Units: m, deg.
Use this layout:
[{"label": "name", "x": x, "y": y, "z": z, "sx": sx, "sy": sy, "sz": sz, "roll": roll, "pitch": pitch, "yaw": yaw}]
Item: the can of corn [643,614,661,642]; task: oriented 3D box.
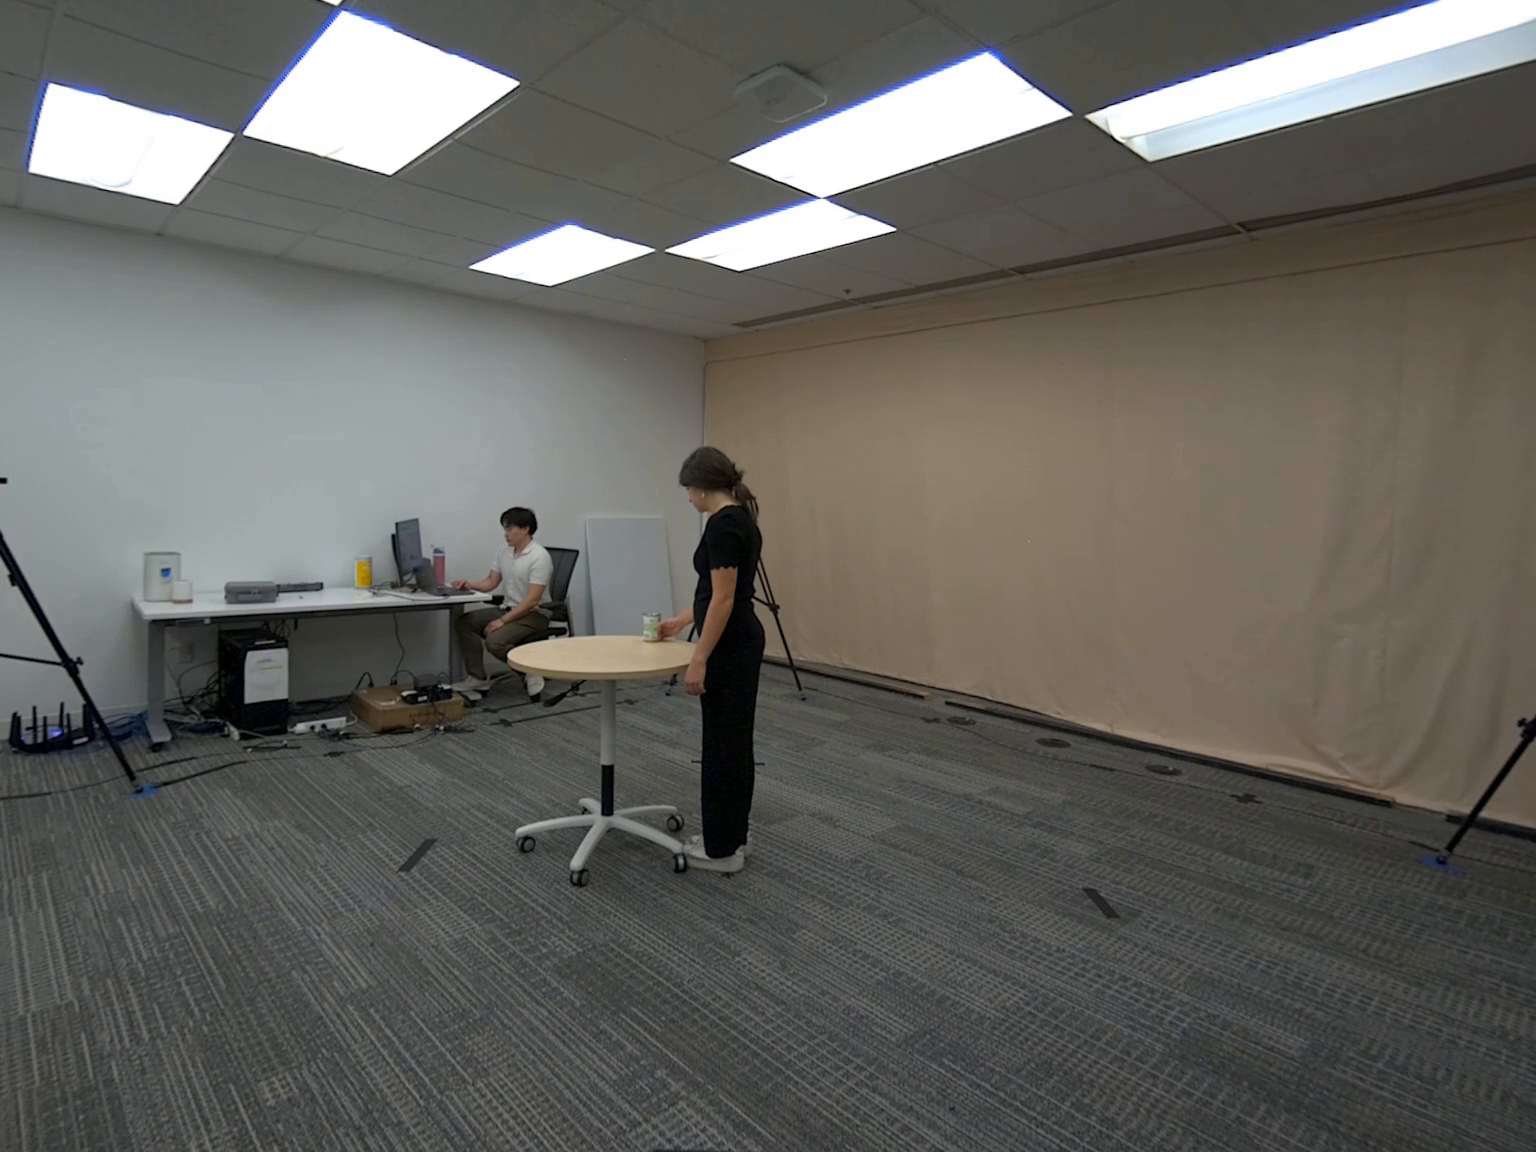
[{"label": "can of corn", "x": -0.498, "y": 0.217, "z": 3.528, "sx": 0.074, "sy": 0.111, "sz": 0.074, "roll": -1, "pitch": 2, "yaw": -1}]
